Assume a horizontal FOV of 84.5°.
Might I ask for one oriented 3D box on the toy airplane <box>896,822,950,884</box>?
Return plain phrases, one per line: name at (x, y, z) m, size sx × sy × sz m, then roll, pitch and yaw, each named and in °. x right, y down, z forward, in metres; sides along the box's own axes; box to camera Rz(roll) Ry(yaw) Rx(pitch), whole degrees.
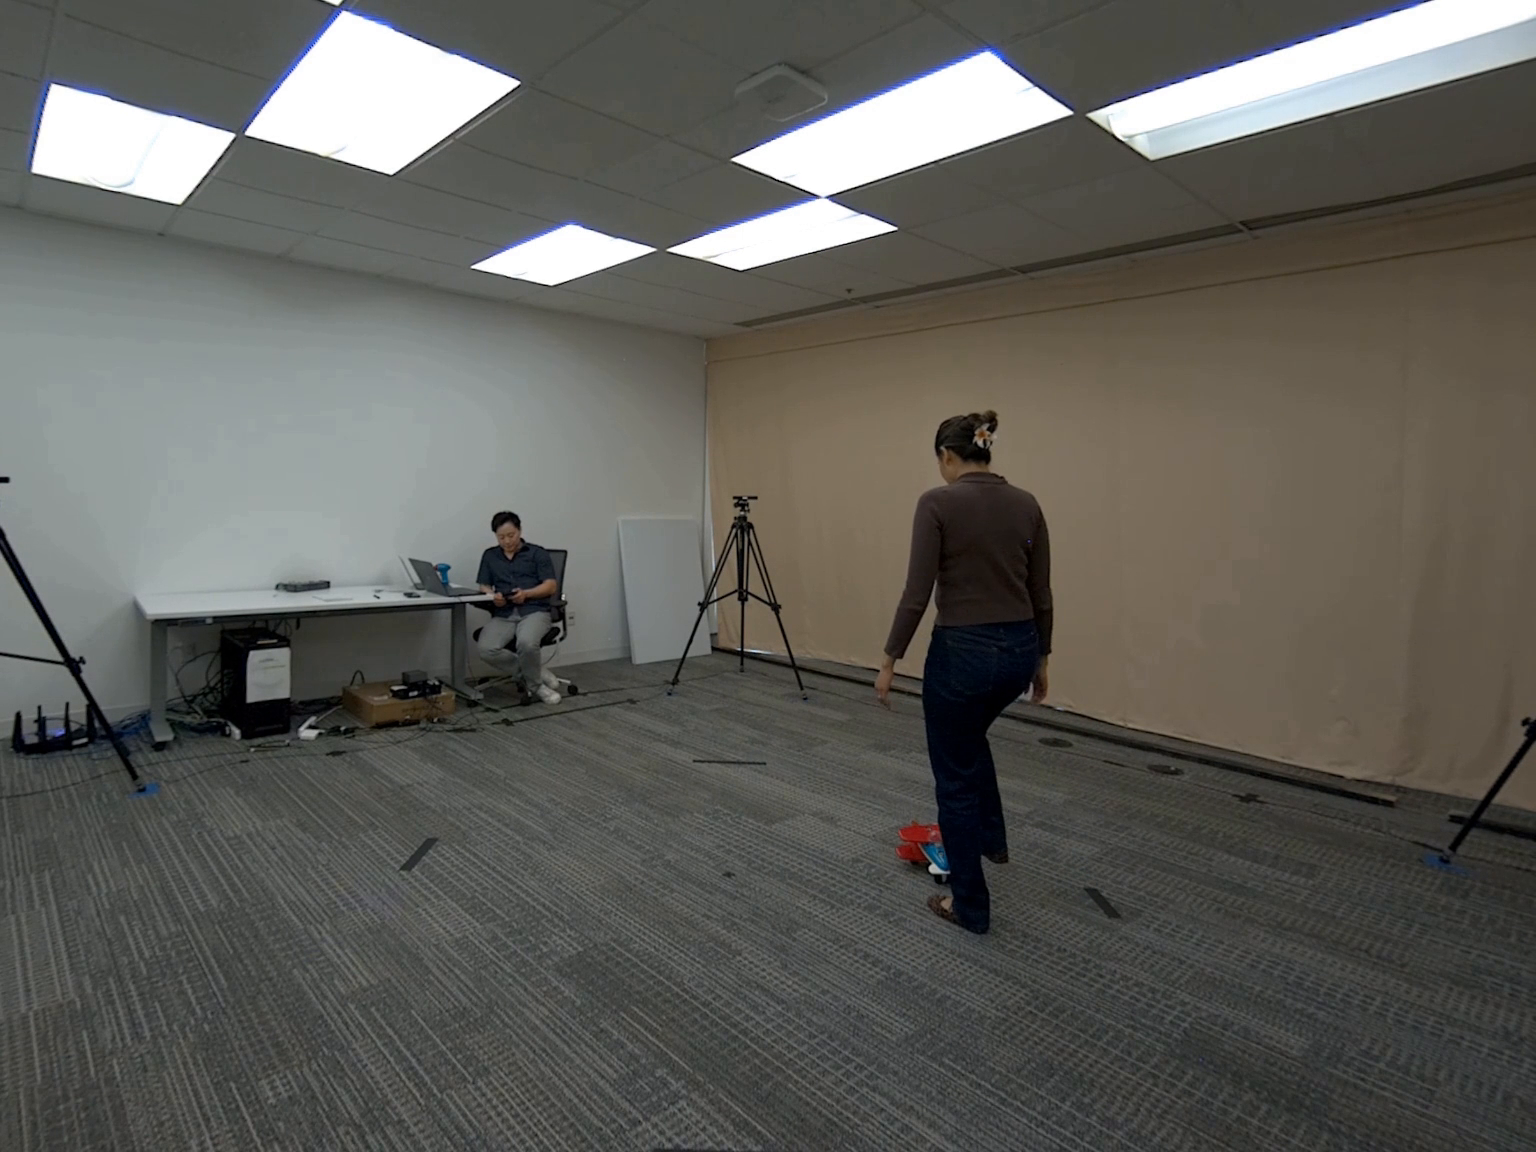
toy airplane at (0.631, 1.041, 3.176) m, size 0.245 × 0.156 × 0.266 m, roll -2°, pitch 5°, yaw -39°
